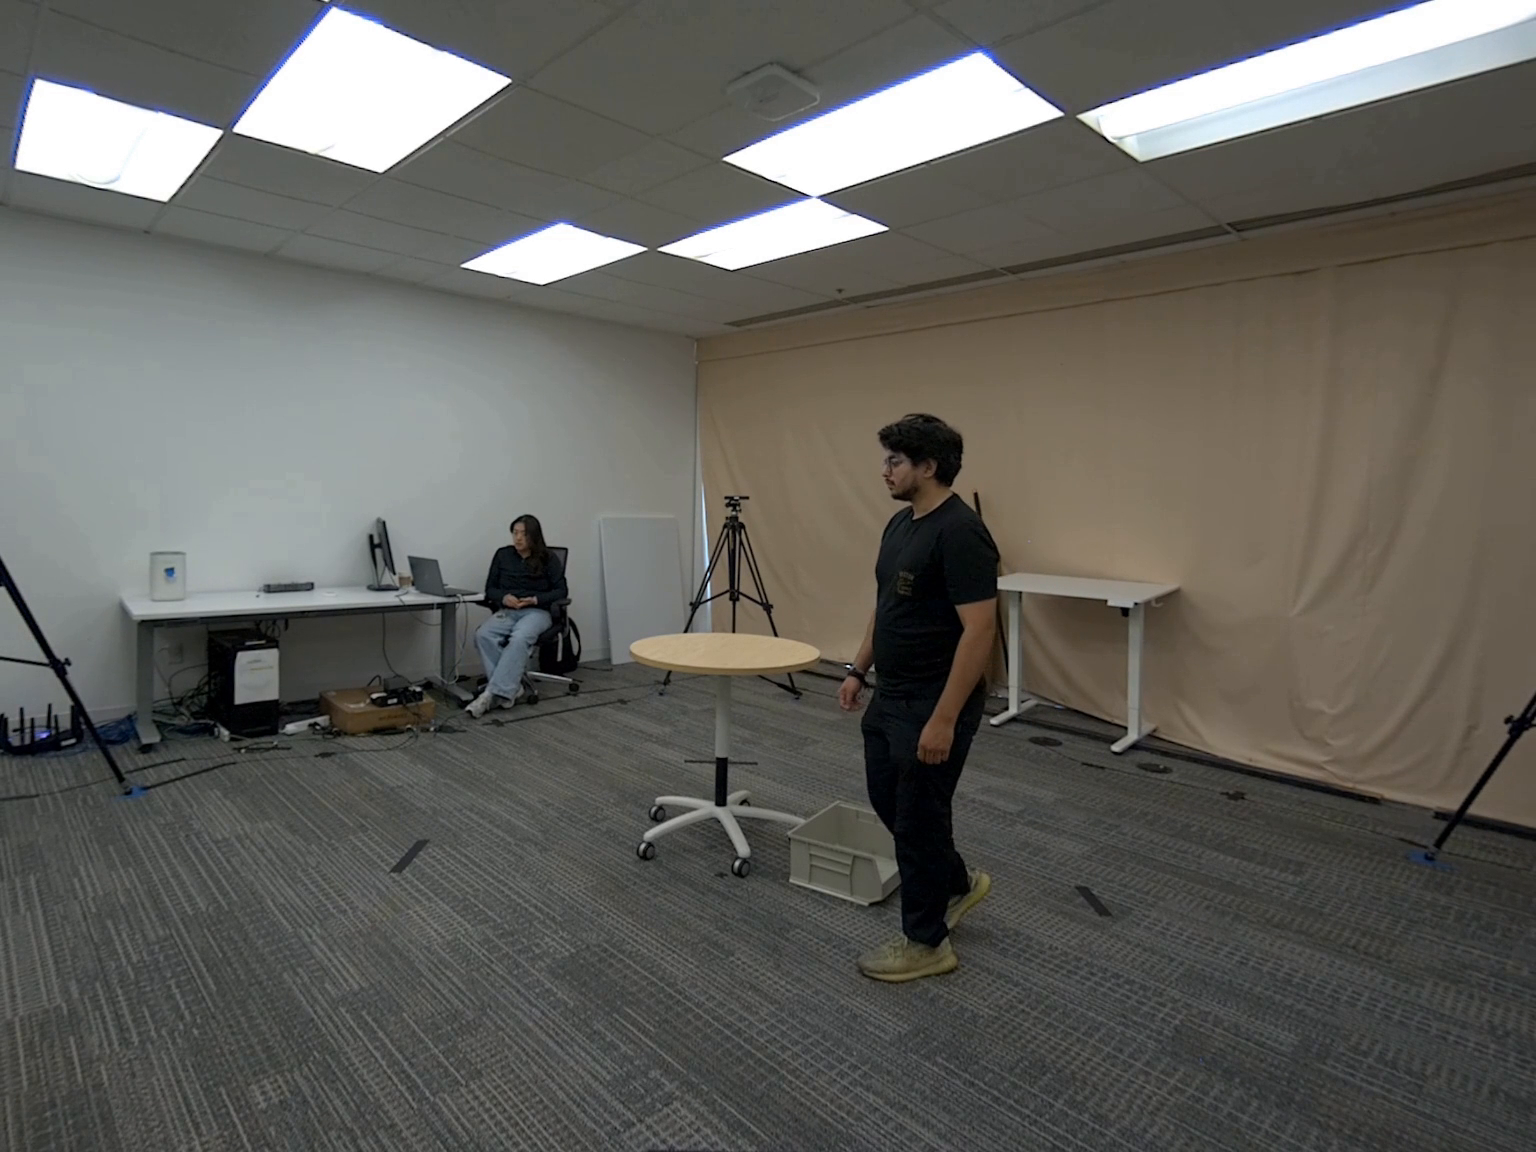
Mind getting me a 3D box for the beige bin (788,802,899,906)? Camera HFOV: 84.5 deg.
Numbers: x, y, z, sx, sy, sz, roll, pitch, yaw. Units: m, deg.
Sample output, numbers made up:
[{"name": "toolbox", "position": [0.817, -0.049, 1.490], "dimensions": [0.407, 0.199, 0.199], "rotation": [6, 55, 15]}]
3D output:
[{"name": "beige bin", "position": [0.327, 1.024, 3.127], "dimensions": [0.386, 0.188, 0.414], "rotation": [3, 5, 32]}]
